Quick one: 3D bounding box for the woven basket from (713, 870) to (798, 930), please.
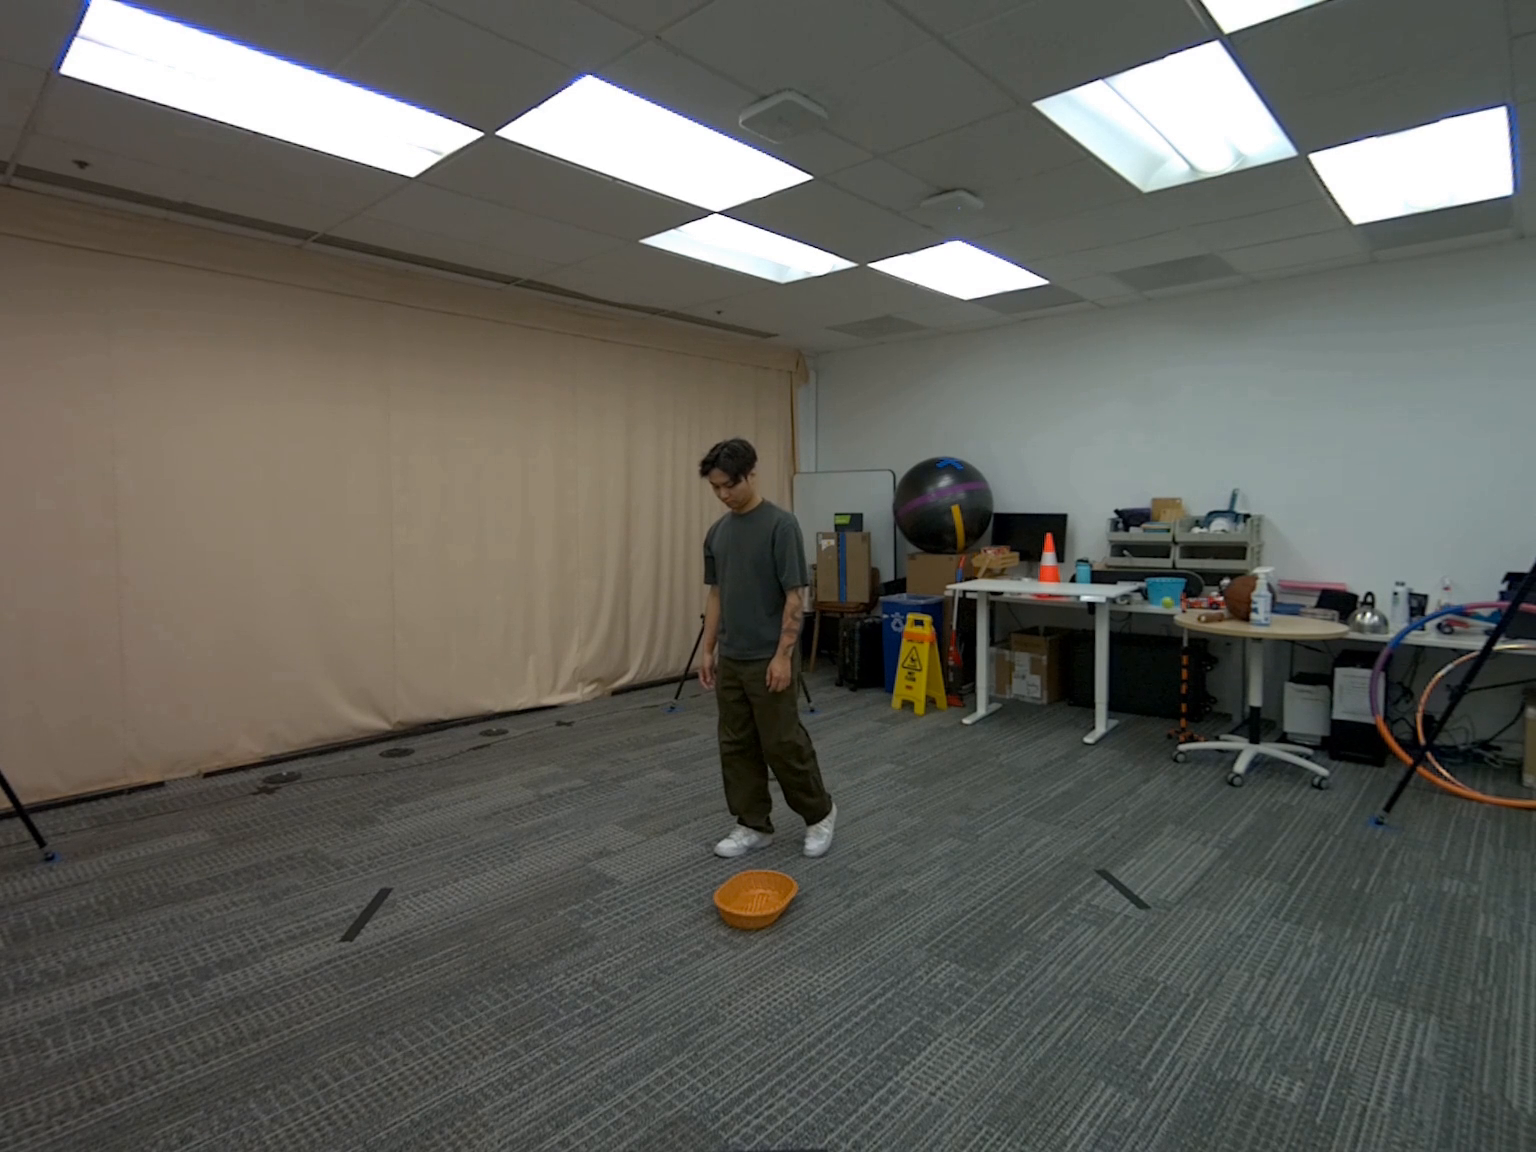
[{"bbox_3d":[-0.037,1.106,2.896,0.259,0.073,0.342,3,6,27],"label":"woven basket"}]
